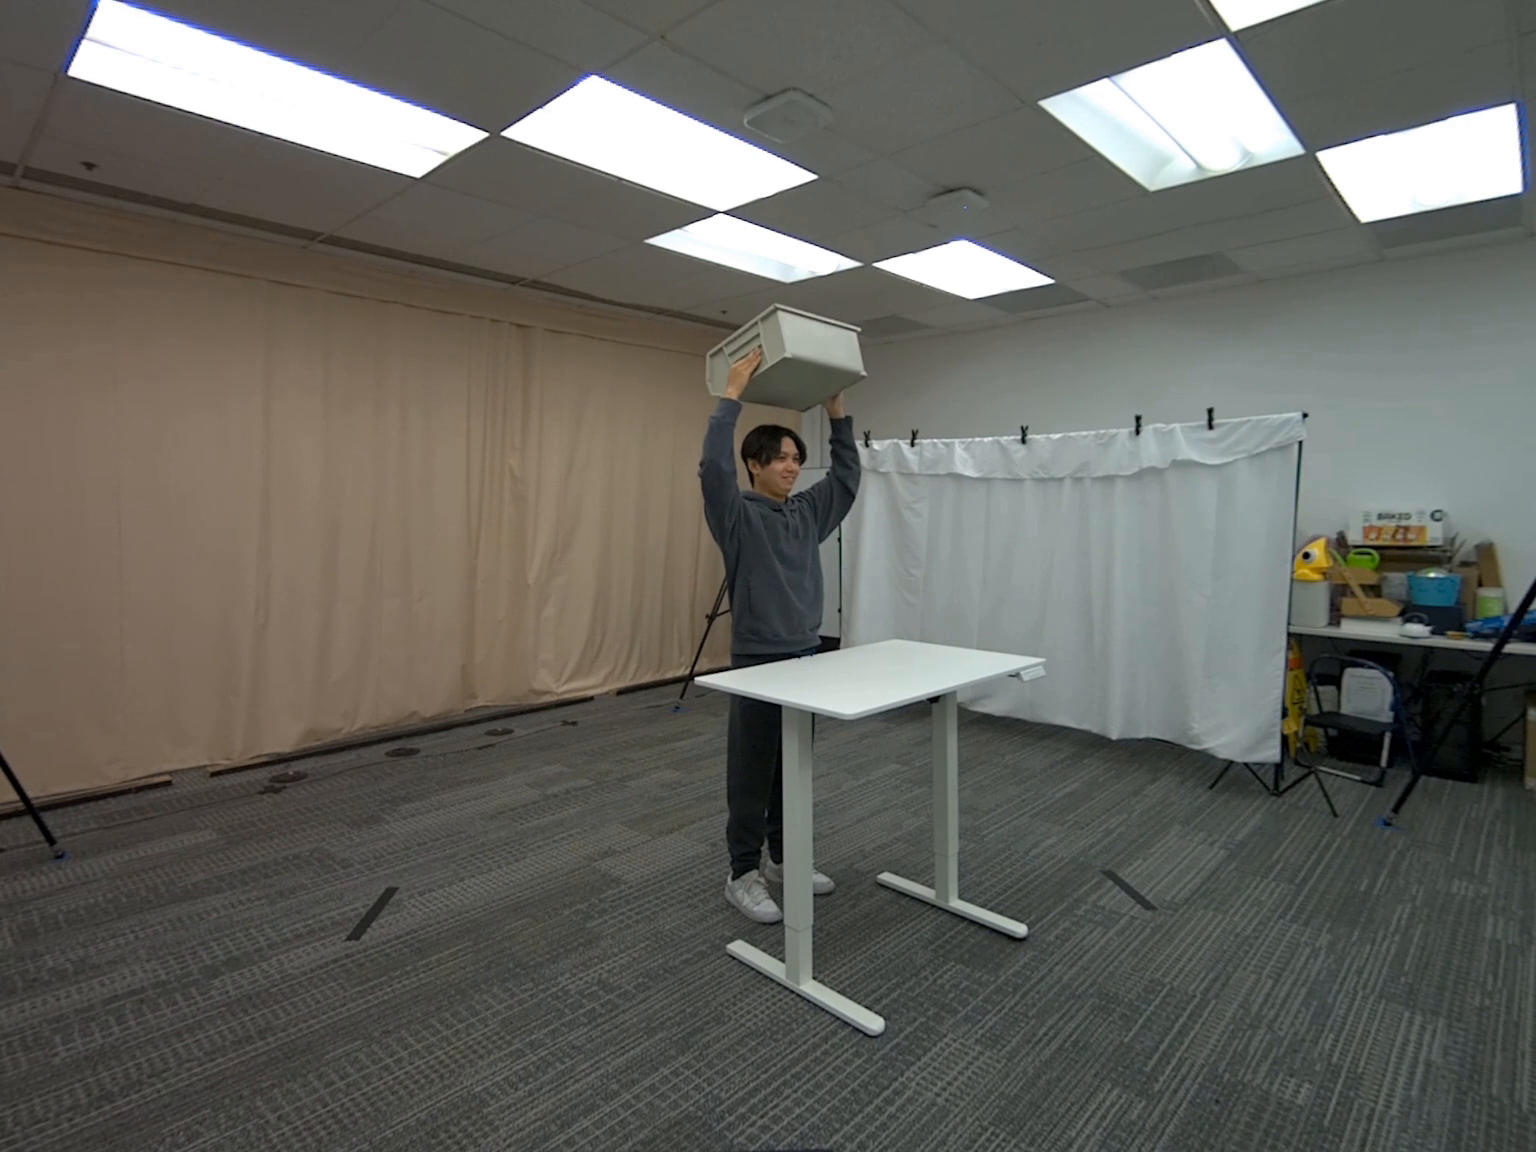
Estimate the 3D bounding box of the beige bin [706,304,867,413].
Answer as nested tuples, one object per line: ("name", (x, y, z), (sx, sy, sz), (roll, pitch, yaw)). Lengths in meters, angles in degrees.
("beige bin", (0.064, -0.718, 2.890), (0.409, 0.191, 0.386), (0, -16, -43))
